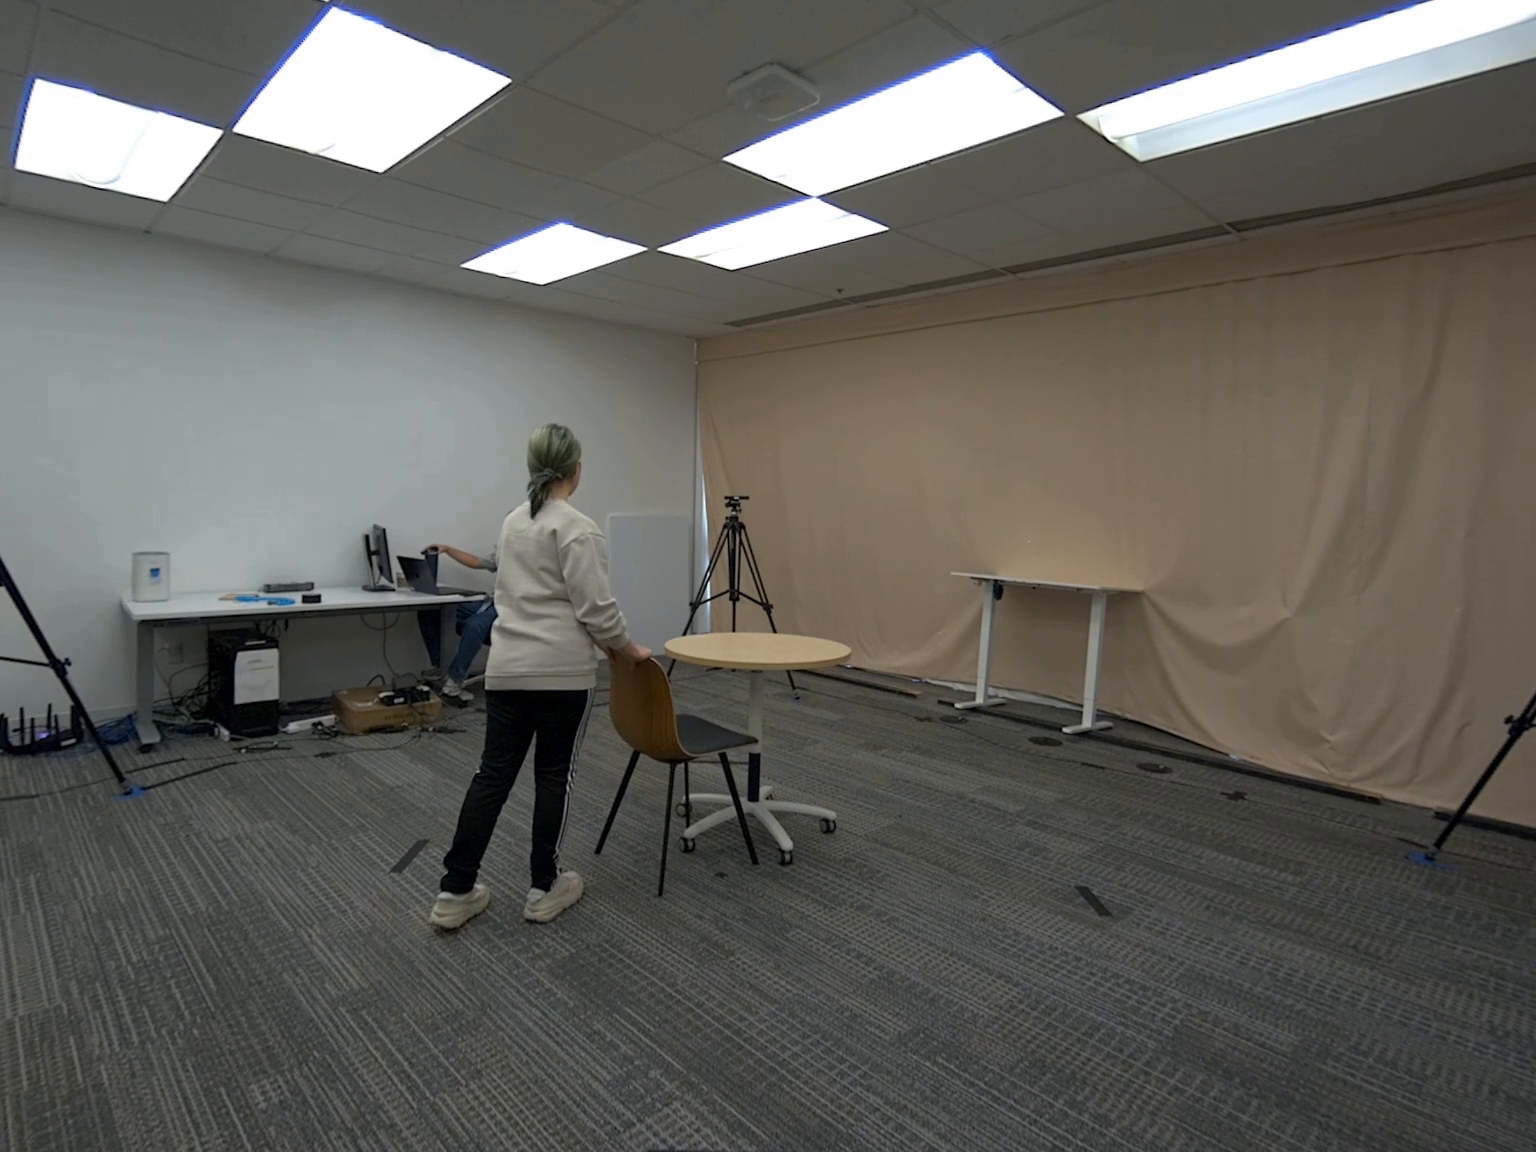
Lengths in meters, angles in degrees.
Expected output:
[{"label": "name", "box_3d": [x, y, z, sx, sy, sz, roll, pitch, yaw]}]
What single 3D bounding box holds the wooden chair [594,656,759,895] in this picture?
[{"label": "wooden chair", "box_3d": [-0.343, 0.662, 3.203, 0.512, 0.874, 0.490, -6, 7, -39]}]
